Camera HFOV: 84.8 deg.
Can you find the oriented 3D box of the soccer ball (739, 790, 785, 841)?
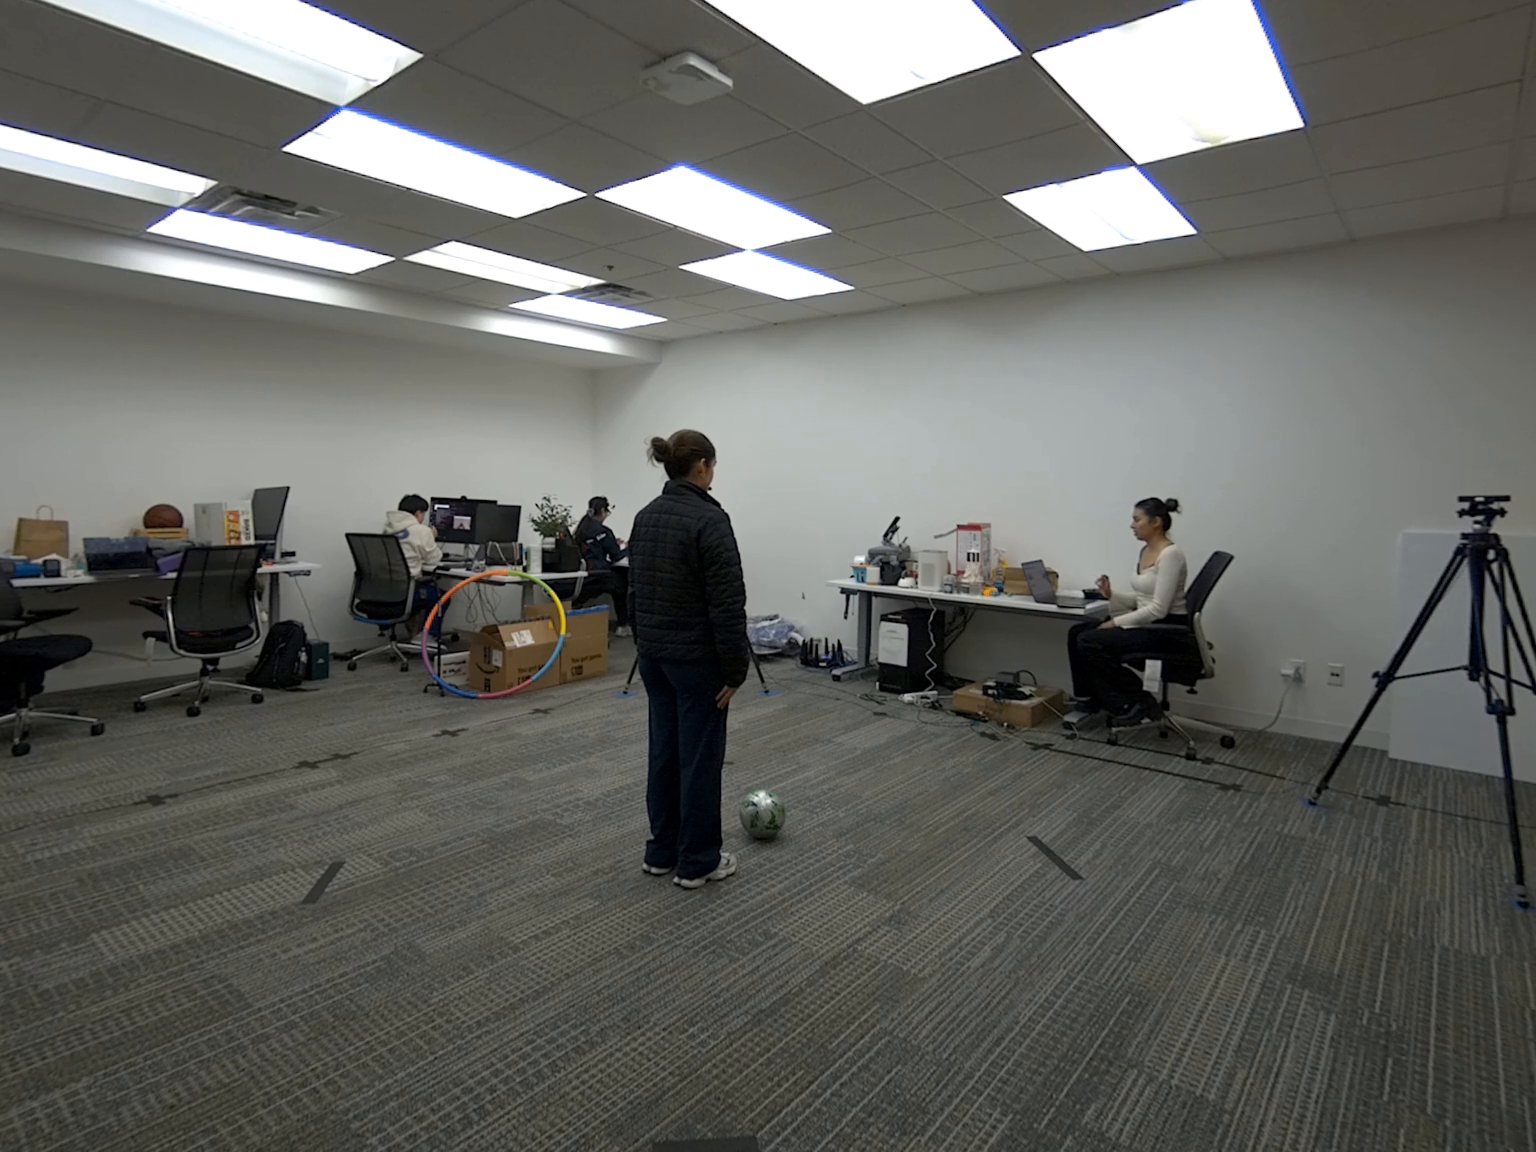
[{"bbox_3d":[-0.032,0.946,3.399,0.187,0.187,0.188,1,4,-2],"label":"soccer ball"}]
